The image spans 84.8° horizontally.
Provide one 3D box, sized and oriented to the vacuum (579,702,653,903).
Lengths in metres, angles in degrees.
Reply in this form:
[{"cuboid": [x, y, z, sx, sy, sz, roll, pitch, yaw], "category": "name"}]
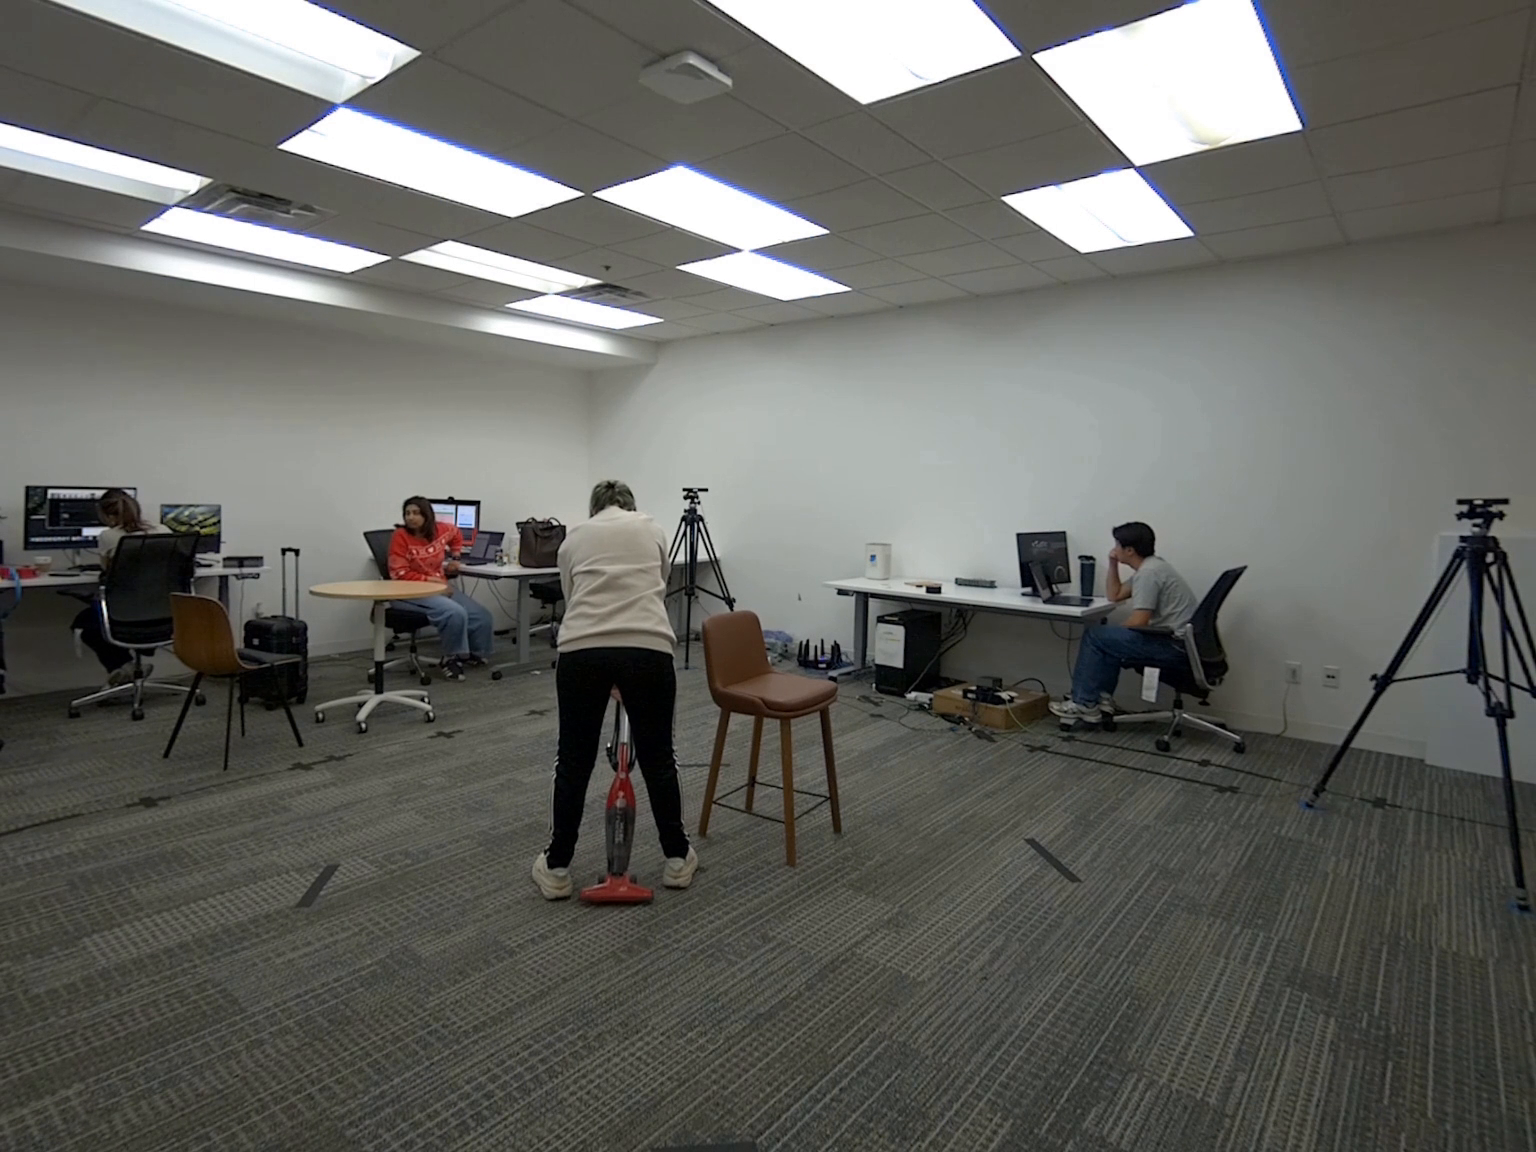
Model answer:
[{"cuboid": [-0.553, 0.648, 3.233, 0.253, 1.082, 0.139, -6, -40, 1], "category": "vacuum"}]
